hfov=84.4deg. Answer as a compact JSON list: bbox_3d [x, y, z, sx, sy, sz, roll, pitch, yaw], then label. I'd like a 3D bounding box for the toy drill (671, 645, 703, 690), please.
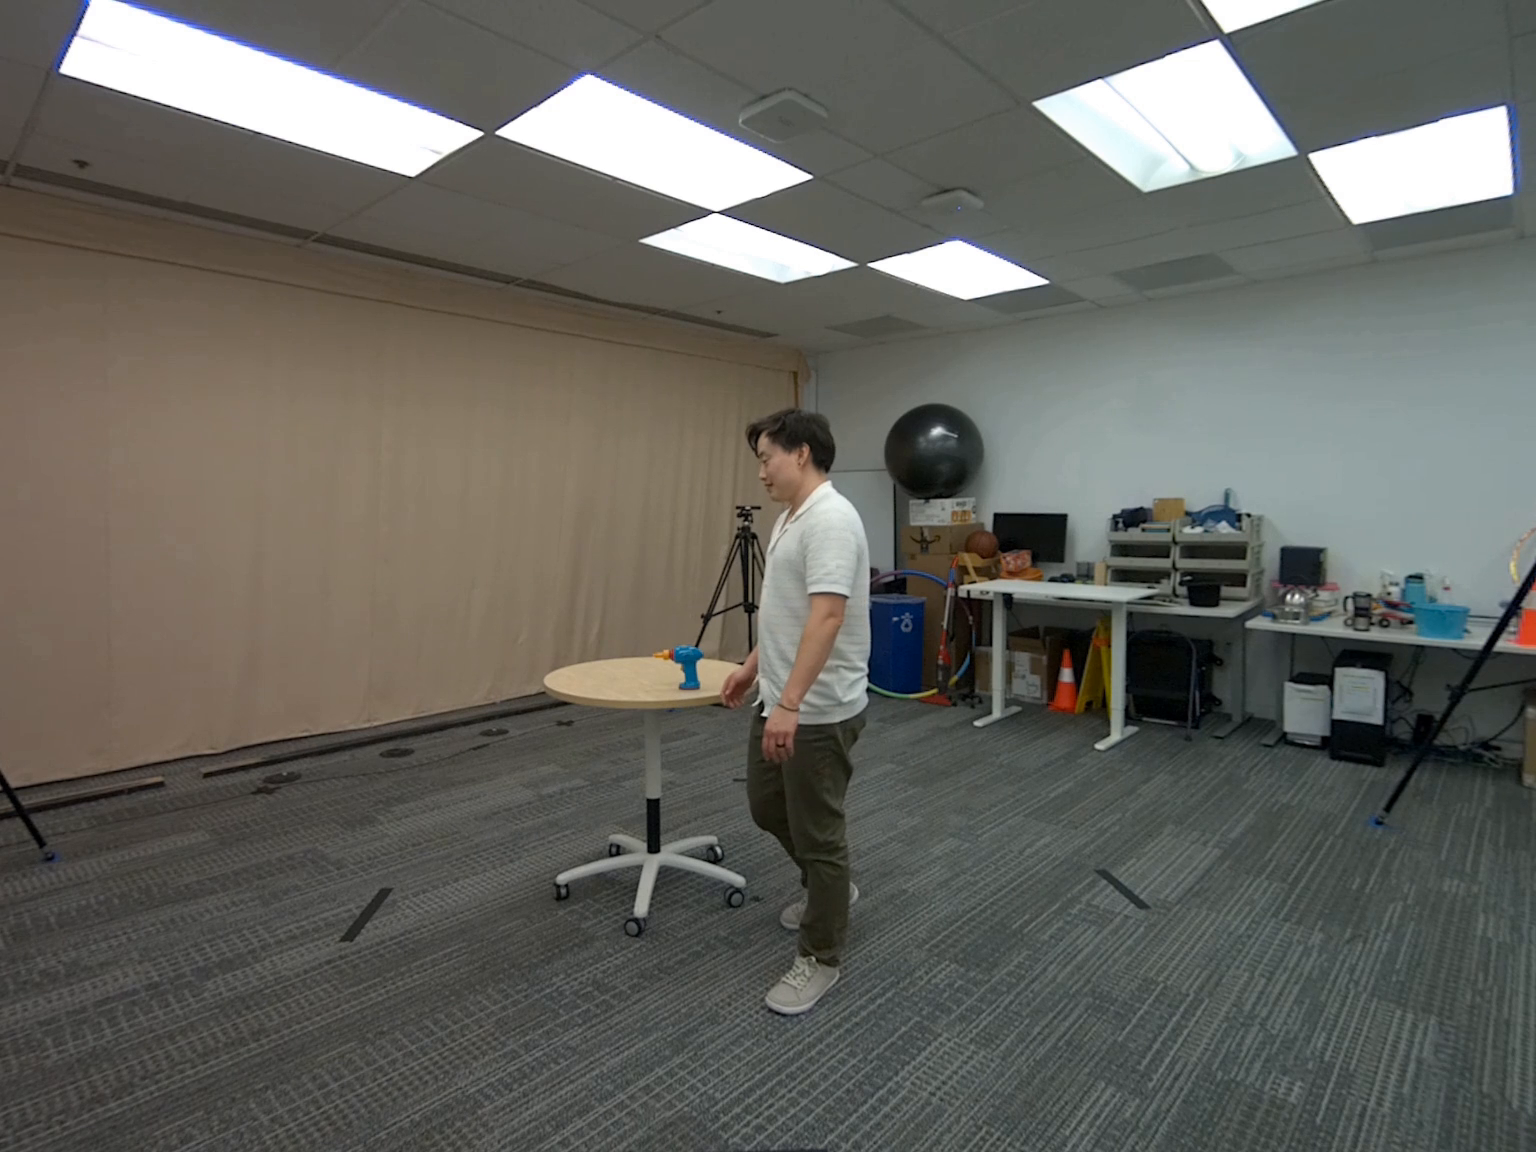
[{"bbox_3d":[-0.301,0.302,2.820,0.170,0.145,0.061,0,4,0],"label":"toy drill"}]
